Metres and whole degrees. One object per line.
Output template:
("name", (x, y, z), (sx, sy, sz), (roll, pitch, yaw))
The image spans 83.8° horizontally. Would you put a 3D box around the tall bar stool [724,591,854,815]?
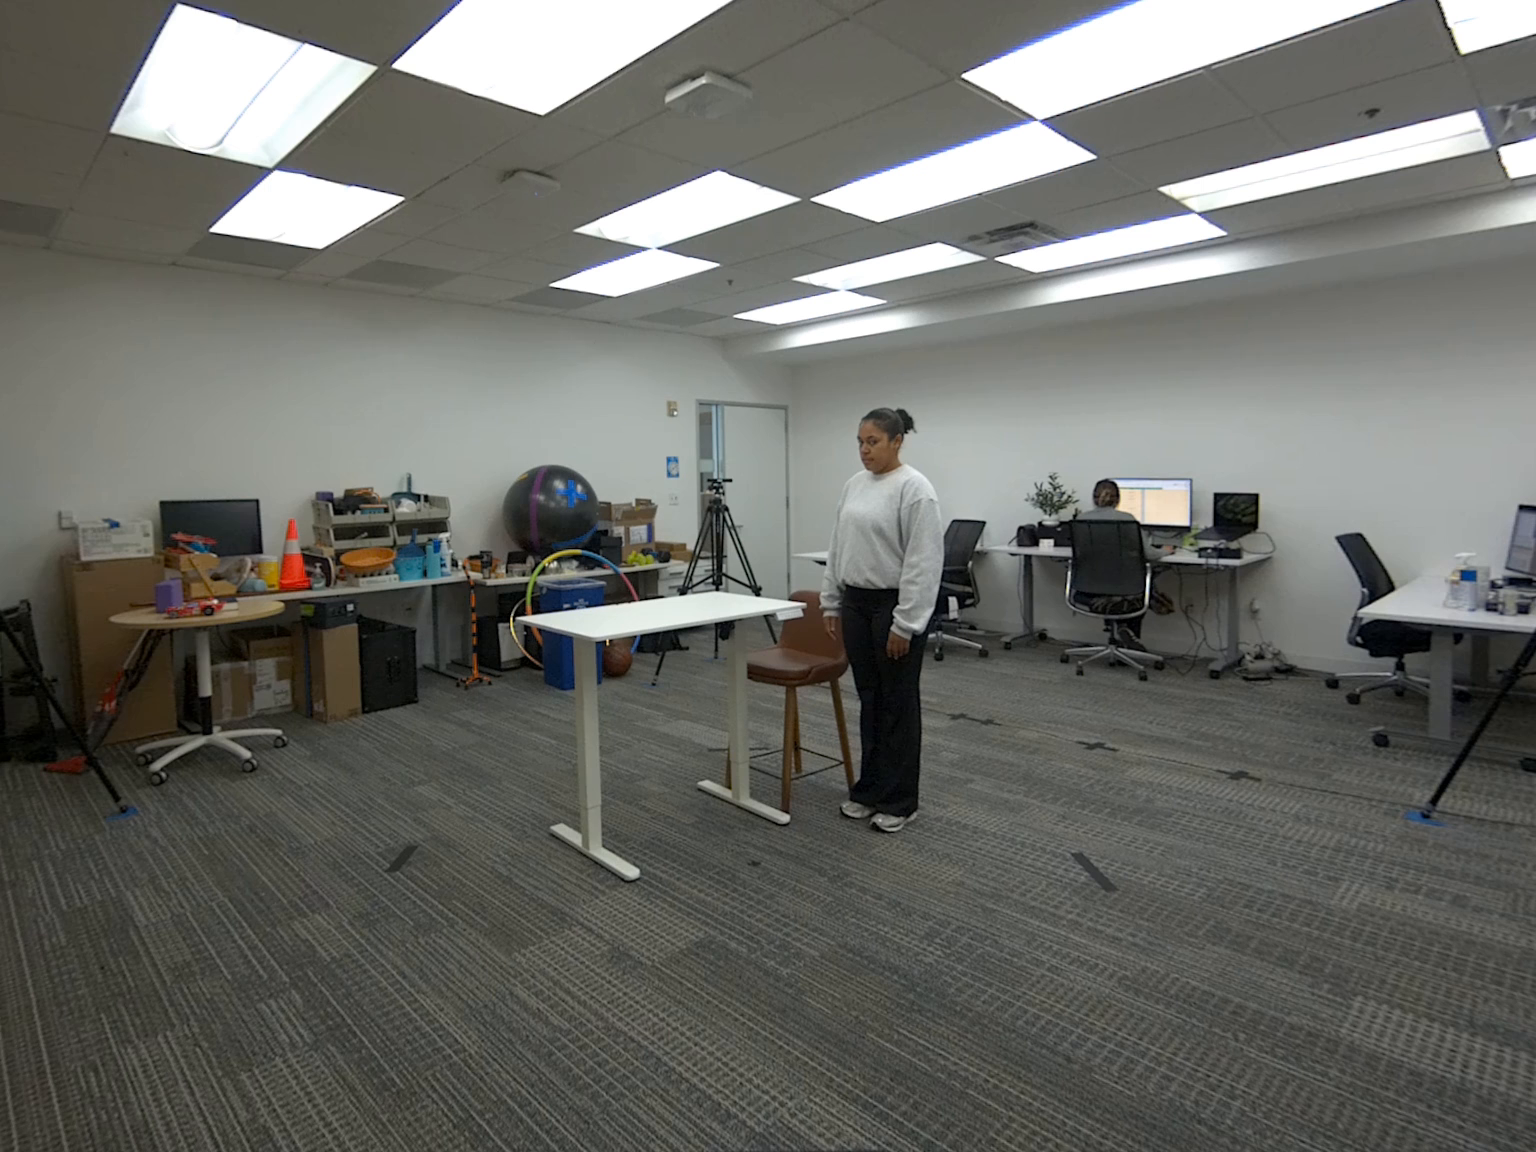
("tall bar stool", (0.104, 0.531, 3.777), (0.454, 0.888, 0.470), (-1, 3, -40))
